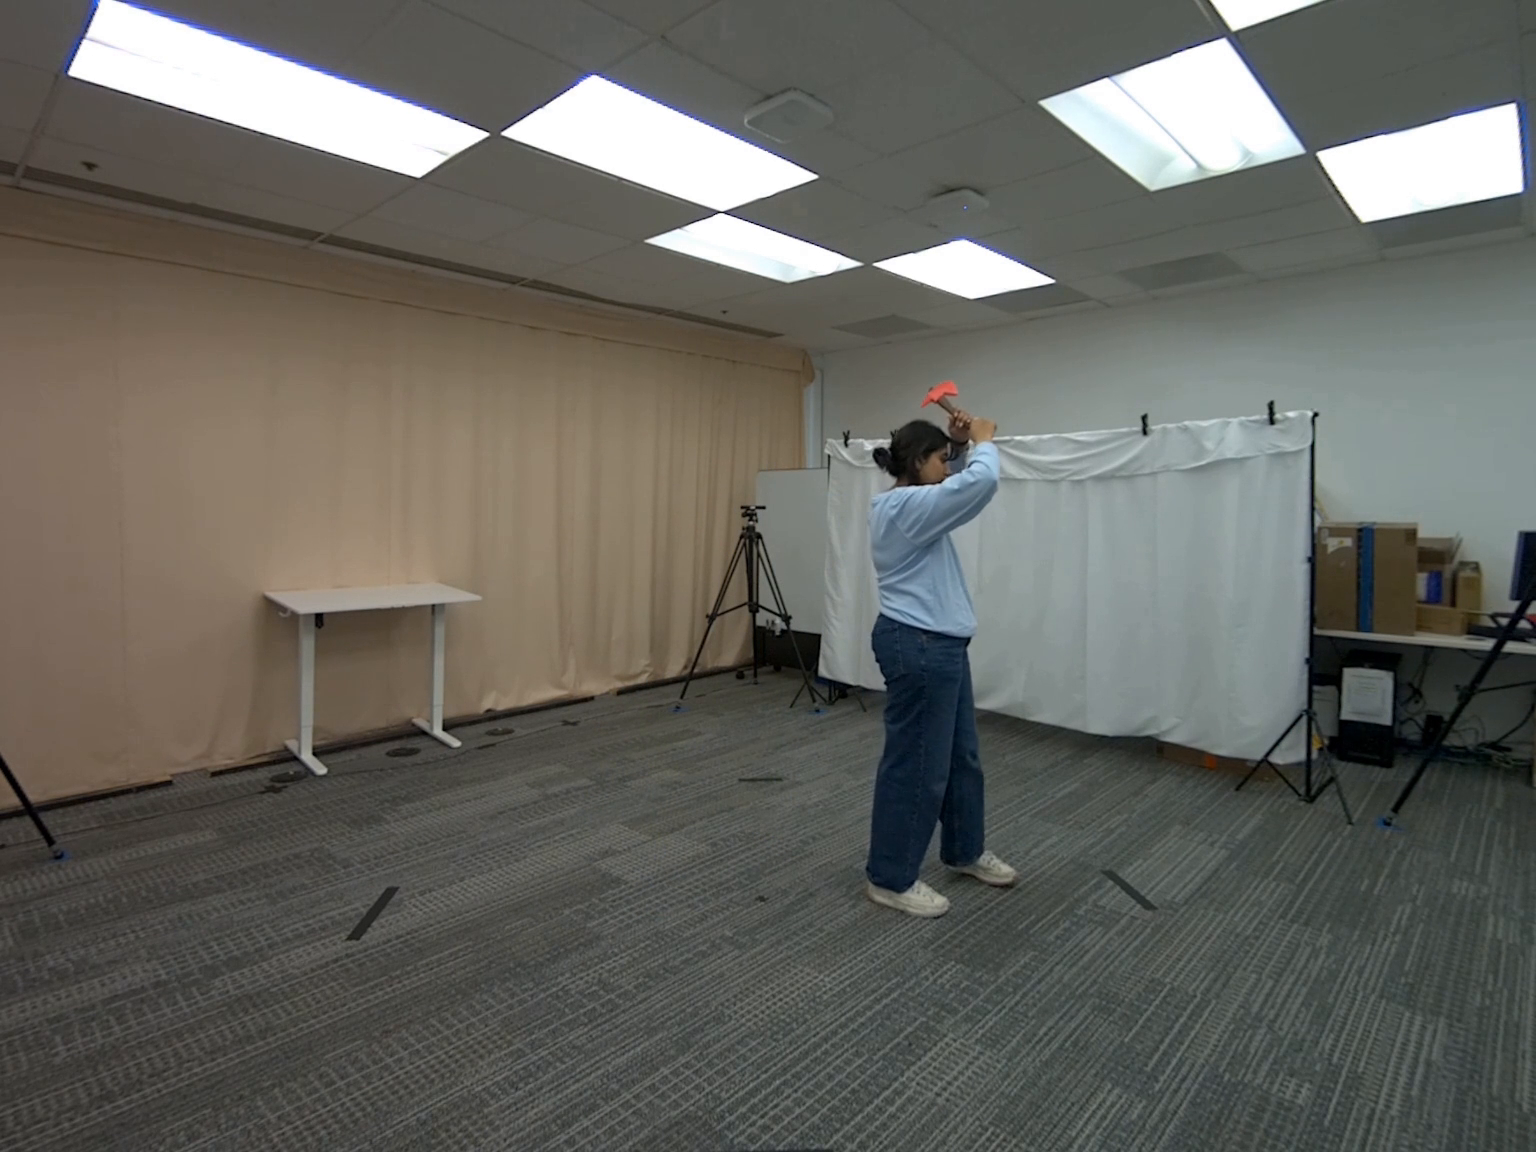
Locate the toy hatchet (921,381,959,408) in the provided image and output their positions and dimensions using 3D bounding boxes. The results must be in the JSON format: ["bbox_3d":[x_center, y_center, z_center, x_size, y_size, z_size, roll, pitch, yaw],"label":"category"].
[{"bbox_3d":[0.685,-0.586,2.900,0.277,0.131,0.029,31,-5,21],"label":"toy hatchet"}]
